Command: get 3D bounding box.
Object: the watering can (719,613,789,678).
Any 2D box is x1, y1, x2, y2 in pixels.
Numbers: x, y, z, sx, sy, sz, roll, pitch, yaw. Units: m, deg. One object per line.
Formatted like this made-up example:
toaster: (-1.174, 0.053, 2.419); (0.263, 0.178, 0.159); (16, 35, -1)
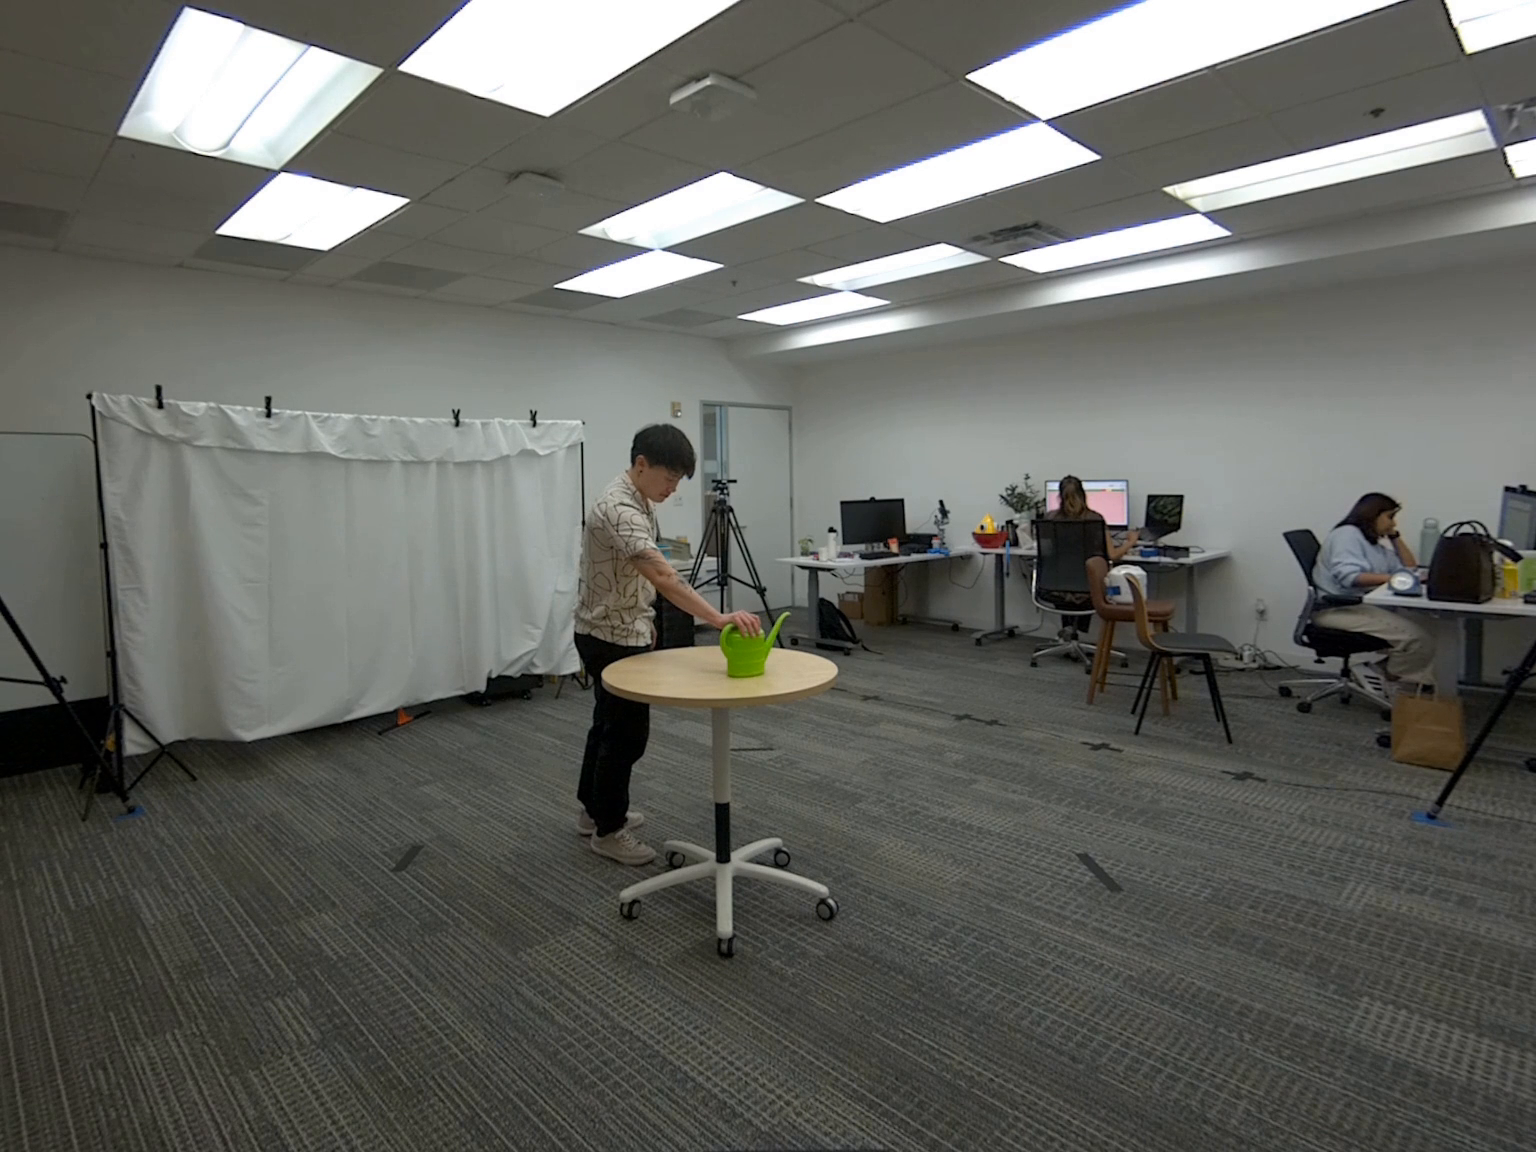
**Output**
watering can: (-0.030, 0.221, 2.719); (0.273, 0.176, 0.100); (-7, 5, -23)
